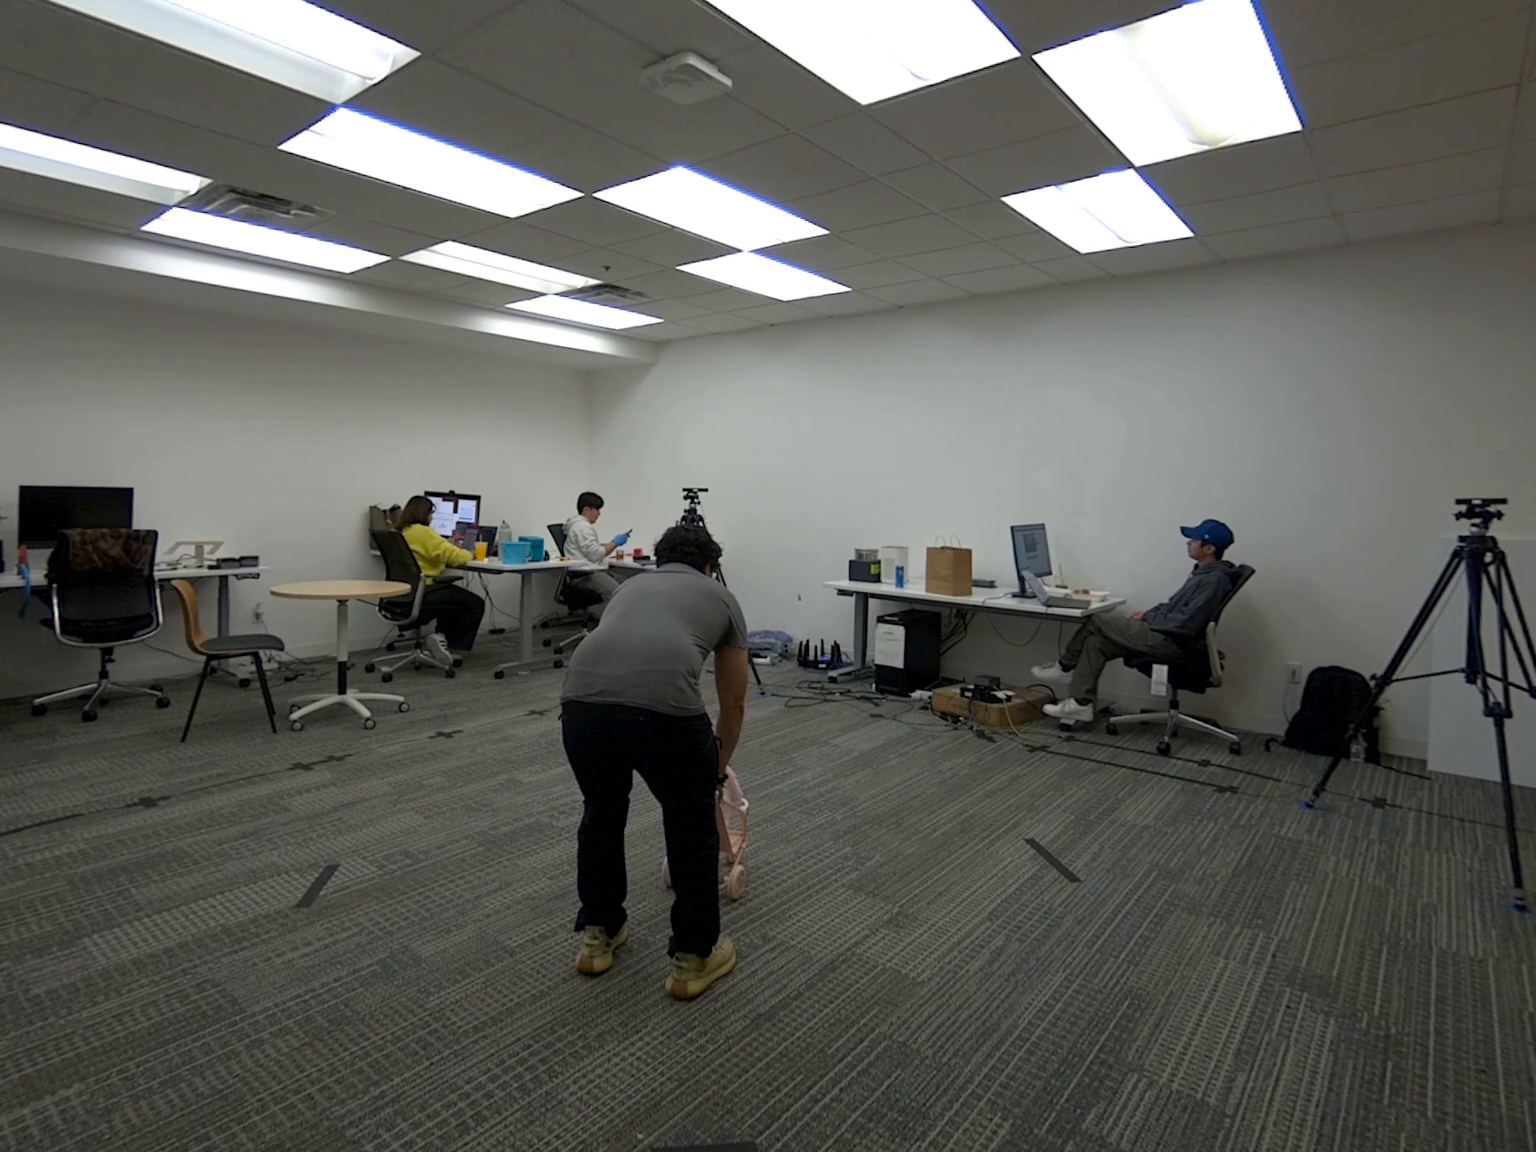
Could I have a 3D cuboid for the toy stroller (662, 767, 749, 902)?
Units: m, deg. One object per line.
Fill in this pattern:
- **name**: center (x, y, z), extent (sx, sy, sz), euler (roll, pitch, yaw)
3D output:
- **toy stroller**: center (-0.201, 0.859, 2.985), extent (0.289, 0.525, 0.339), euler (4, 21, 25)
